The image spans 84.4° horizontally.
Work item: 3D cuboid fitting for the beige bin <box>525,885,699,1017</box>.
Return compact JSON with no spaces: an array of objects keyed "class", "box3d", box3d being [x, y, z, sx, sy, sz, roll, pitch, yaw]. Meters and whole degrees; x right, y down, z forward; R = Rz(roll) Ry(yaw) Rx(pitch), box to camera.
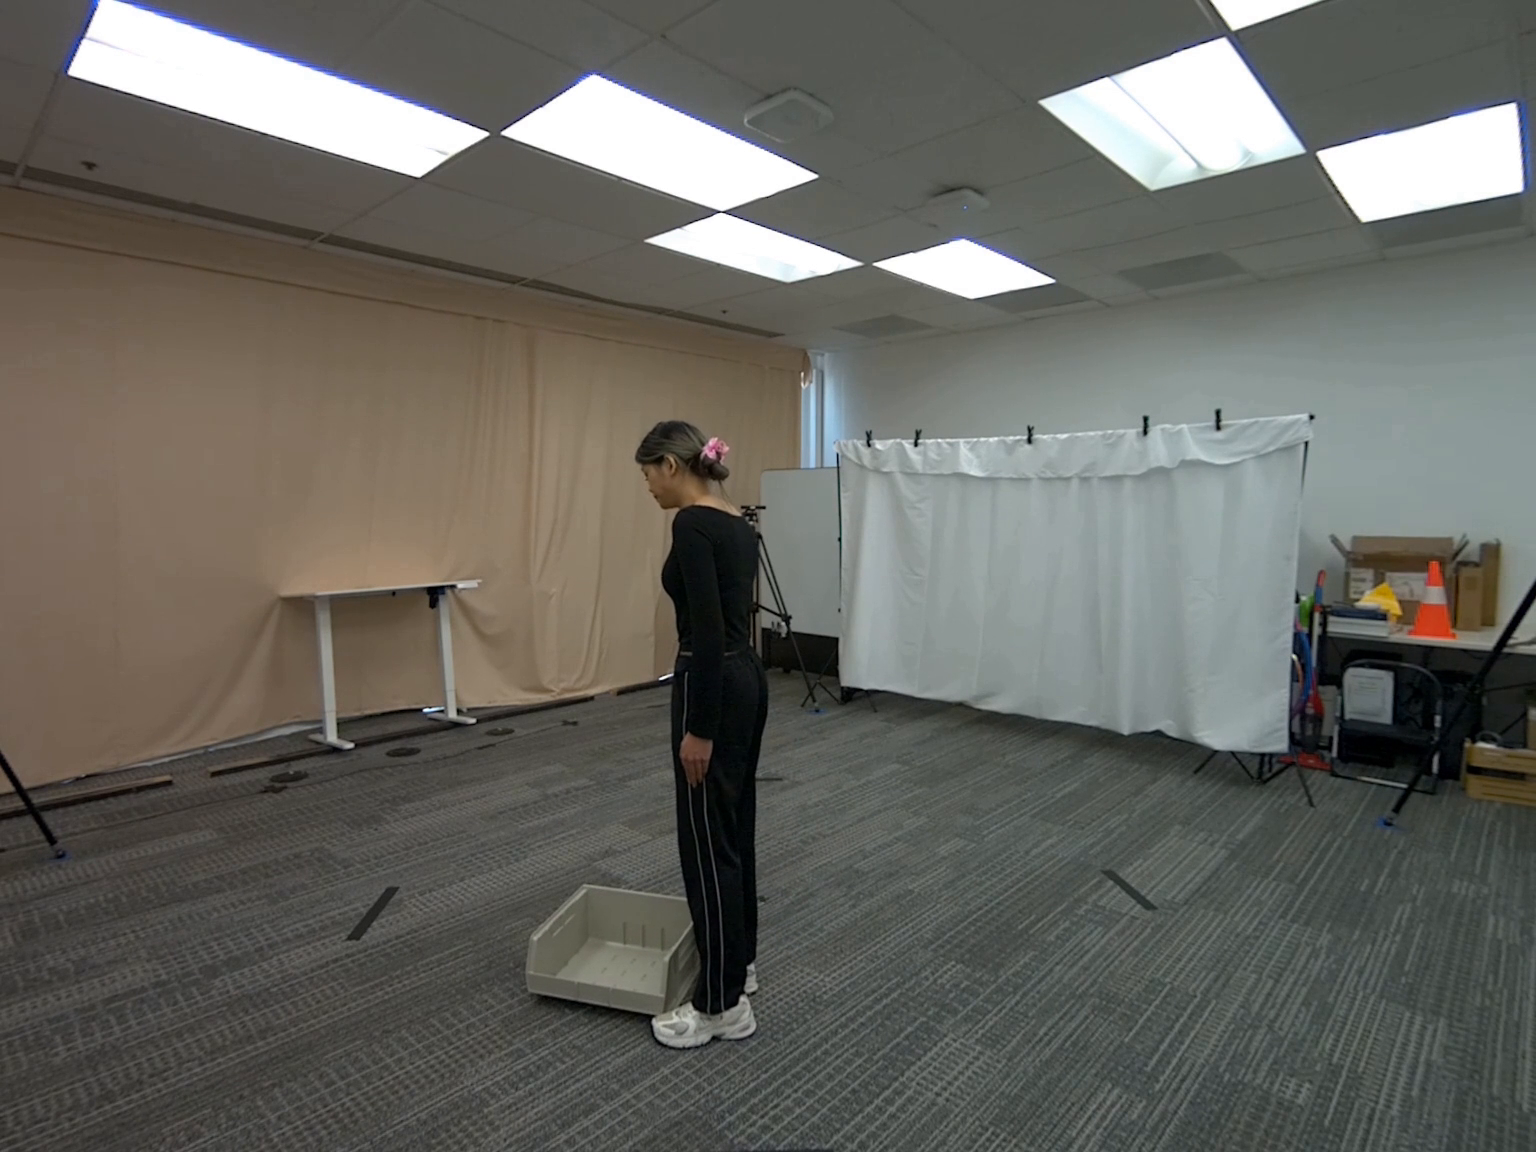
[{"class":"beige bin","box3d":[-0.426,1.102,2.466,0.430,0.188,0.371,1,3,16]}]
